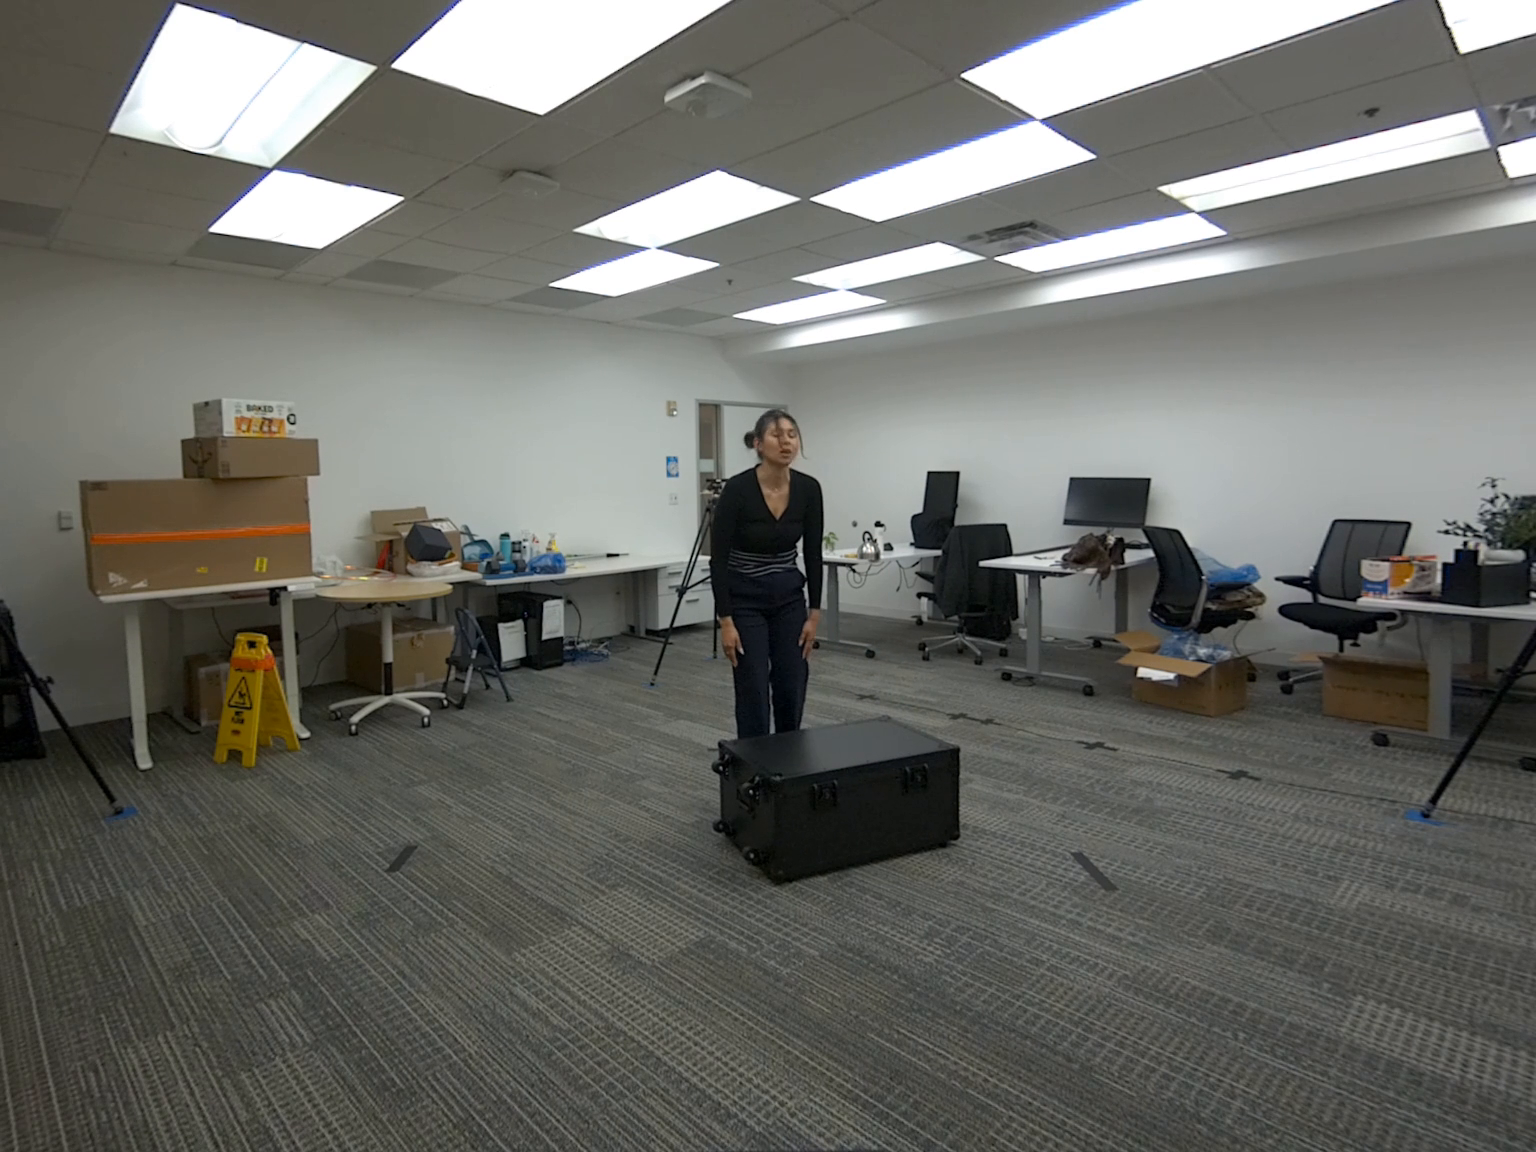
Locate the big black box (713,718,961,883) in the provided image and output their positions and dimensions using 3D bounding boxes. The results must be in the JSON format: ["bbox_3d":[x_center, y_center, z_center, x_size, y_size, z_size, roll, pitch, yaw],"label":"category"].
[{"bbox_3d":[0.287,0.828,3.286,0.844,0.394,0.534,-4,6,-24],"label":"big black box"}]
